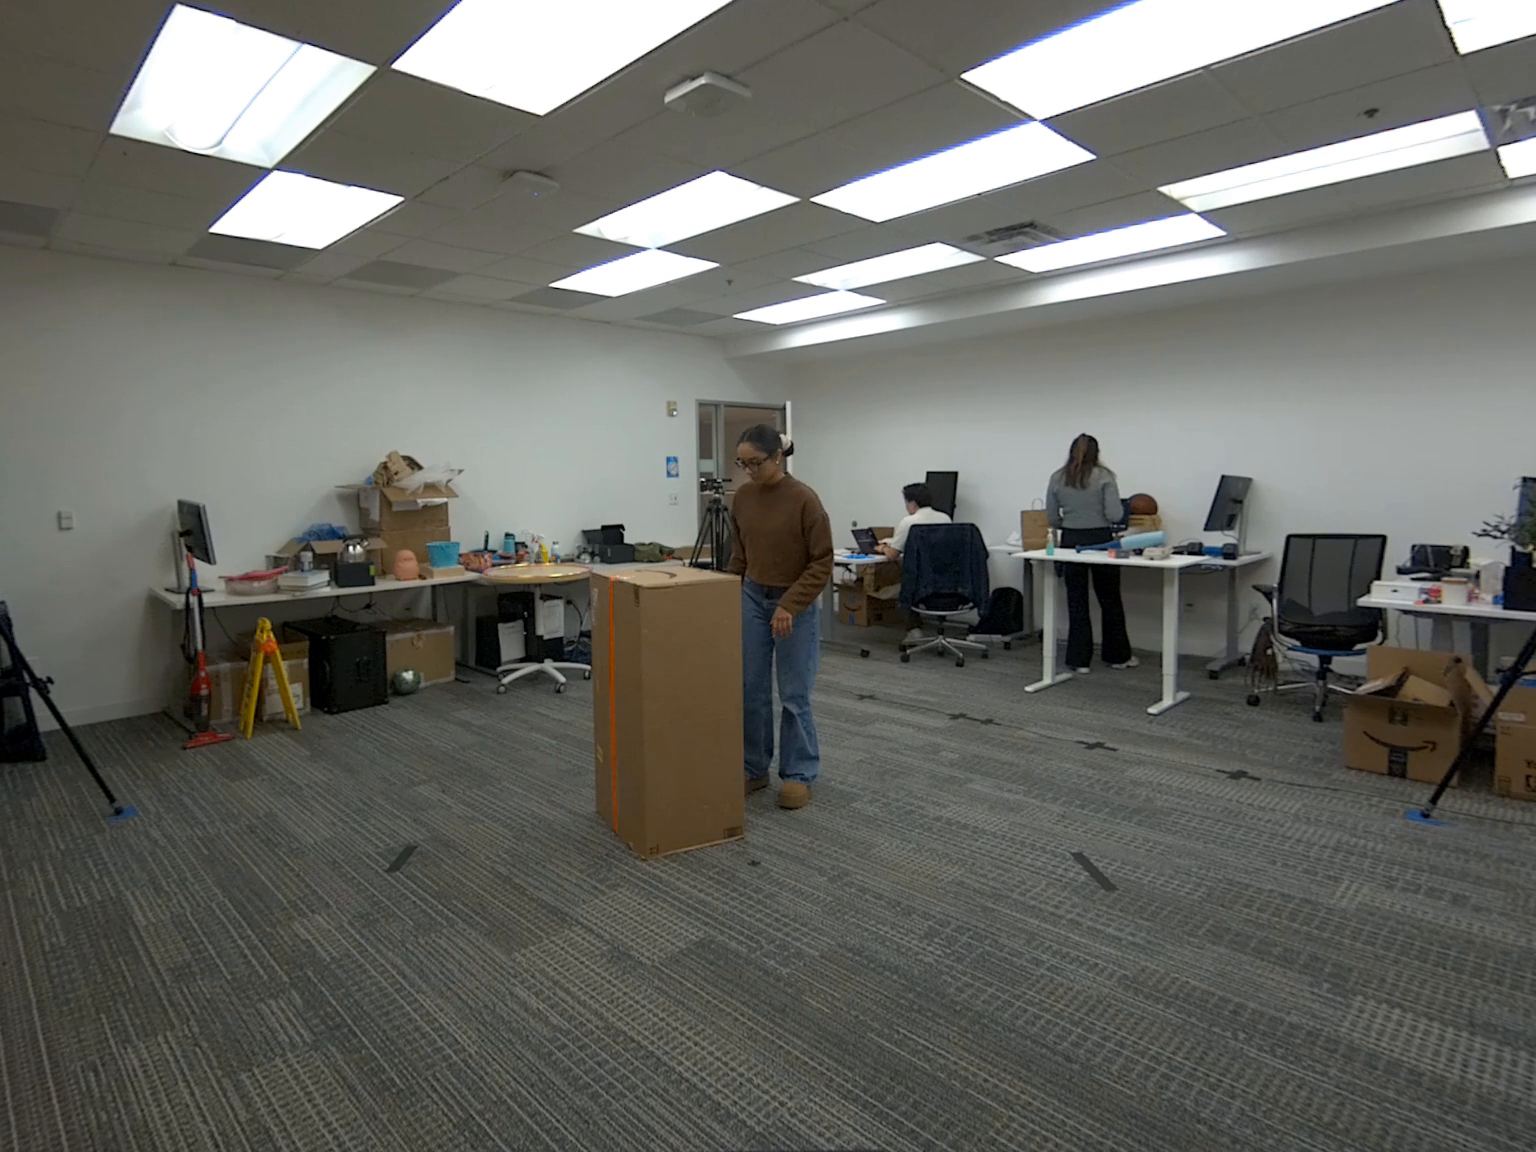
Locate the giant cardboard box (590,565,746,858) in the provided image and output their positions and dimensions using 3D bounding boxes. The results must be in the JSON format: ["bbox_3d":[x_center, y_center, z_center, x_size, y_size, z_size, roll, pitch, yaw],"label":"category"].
[{"bbox_3d":[-0.424,0.502,3.451,0.416,1.022,0.593,-3,5,-30],"label":"giant cardboard box"}]
